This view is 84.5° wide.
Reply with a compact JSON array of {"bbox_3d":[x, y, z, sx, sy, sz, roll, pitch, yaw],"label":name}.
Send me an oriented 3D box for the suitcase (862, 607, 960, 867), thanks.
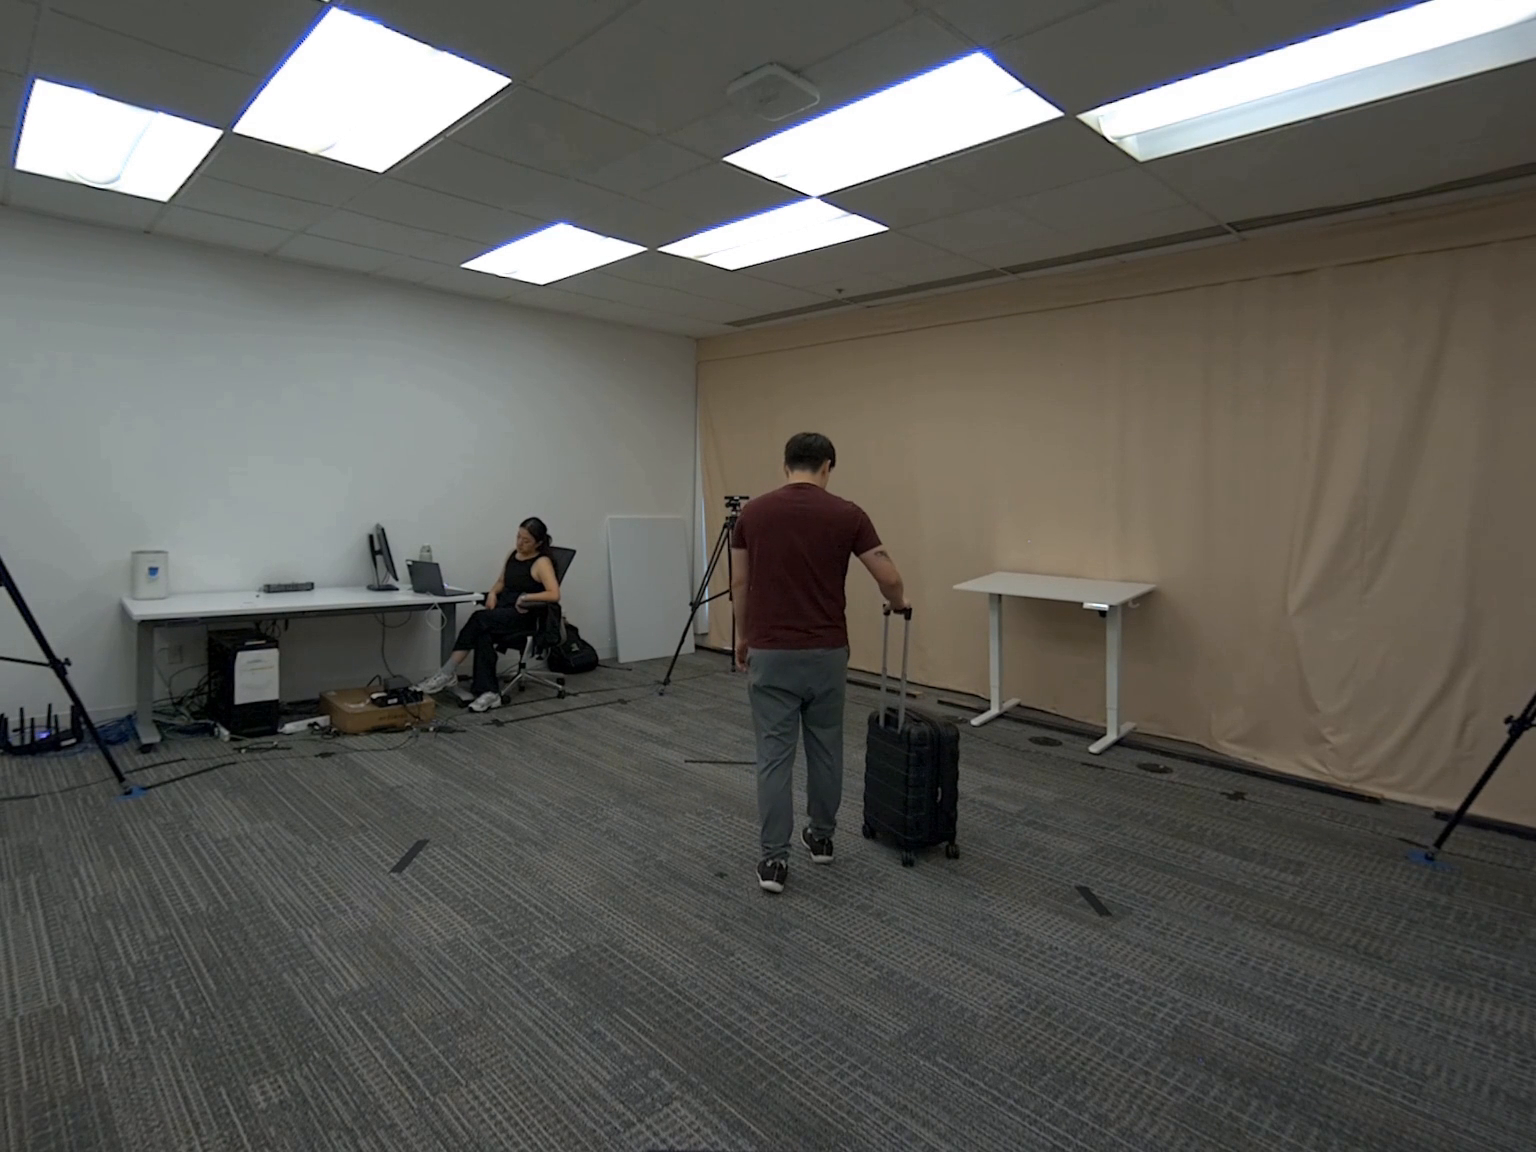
[{"bbox_3d":[0.582,0.615,3.408,0.253,0.977,0.391,2,2,-22],"label":"suitcase"}]
